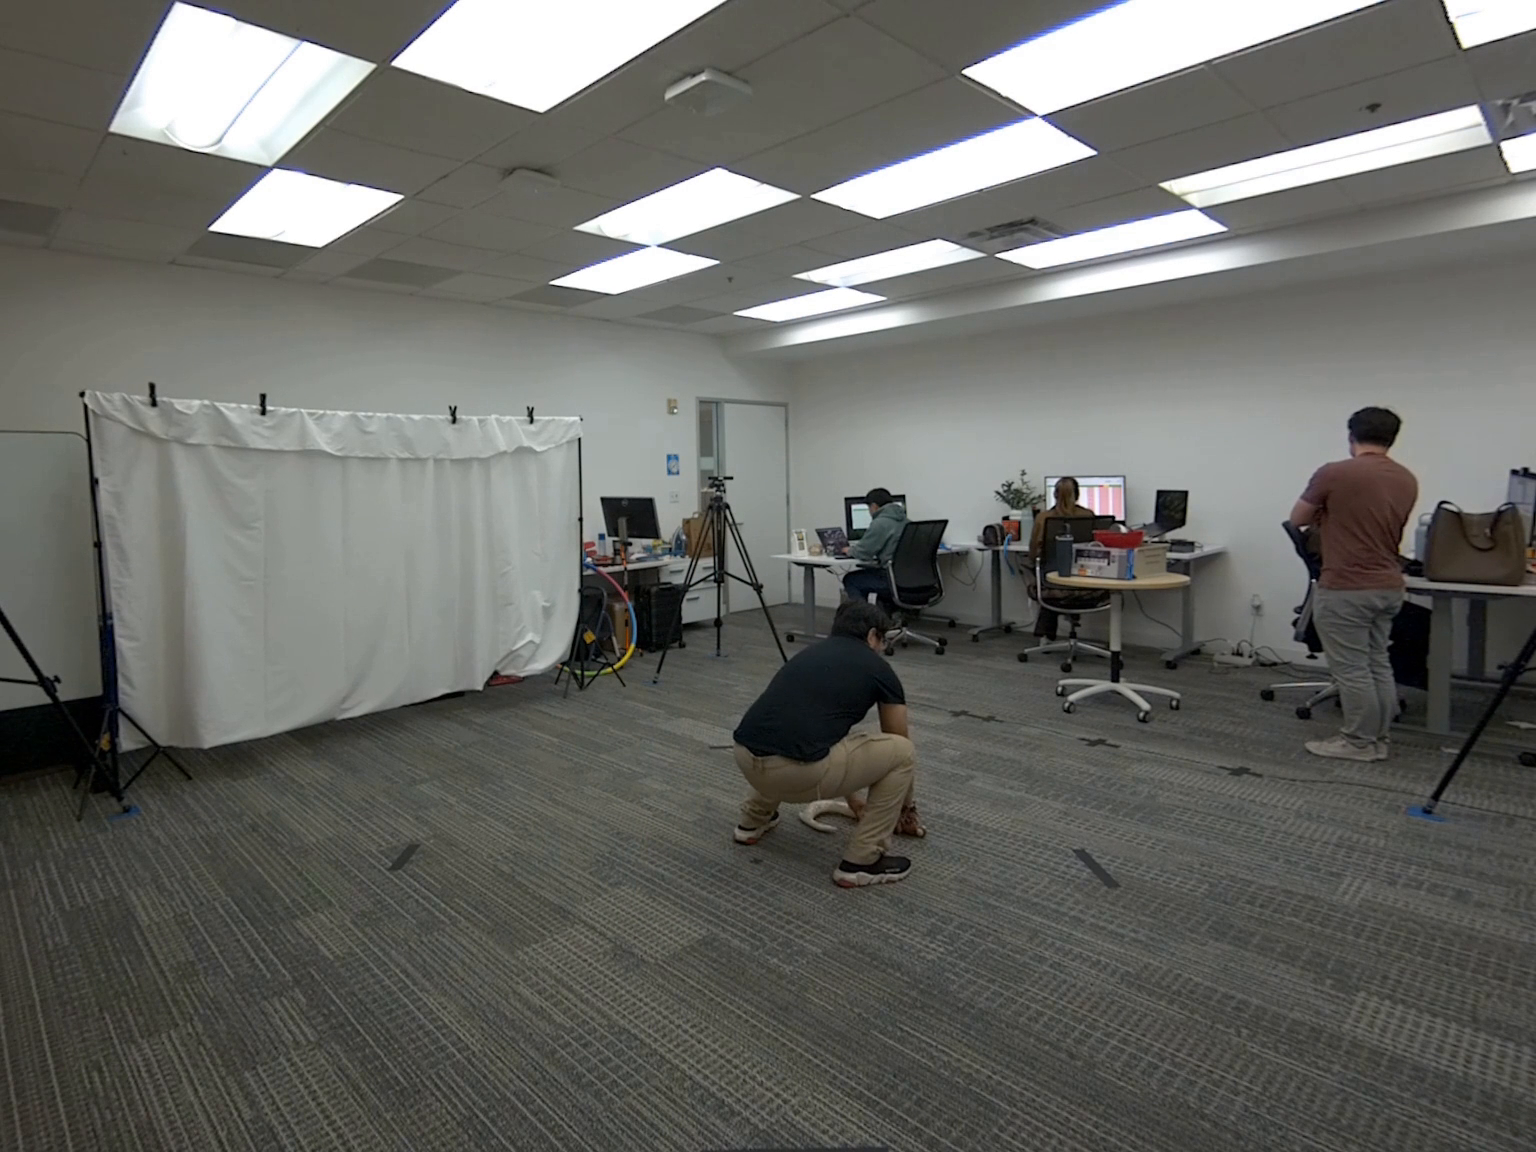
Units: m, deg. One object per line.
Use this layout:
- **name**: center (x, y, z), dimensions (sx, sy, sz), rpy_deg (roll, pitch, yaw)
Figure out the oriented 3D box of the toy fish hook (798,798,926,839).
- **toy fish hook**: center (0.368, 0.978, 3.384), dimensions (0.521, 0.048, 0.221), rpy_deg (1, 16, 35)
